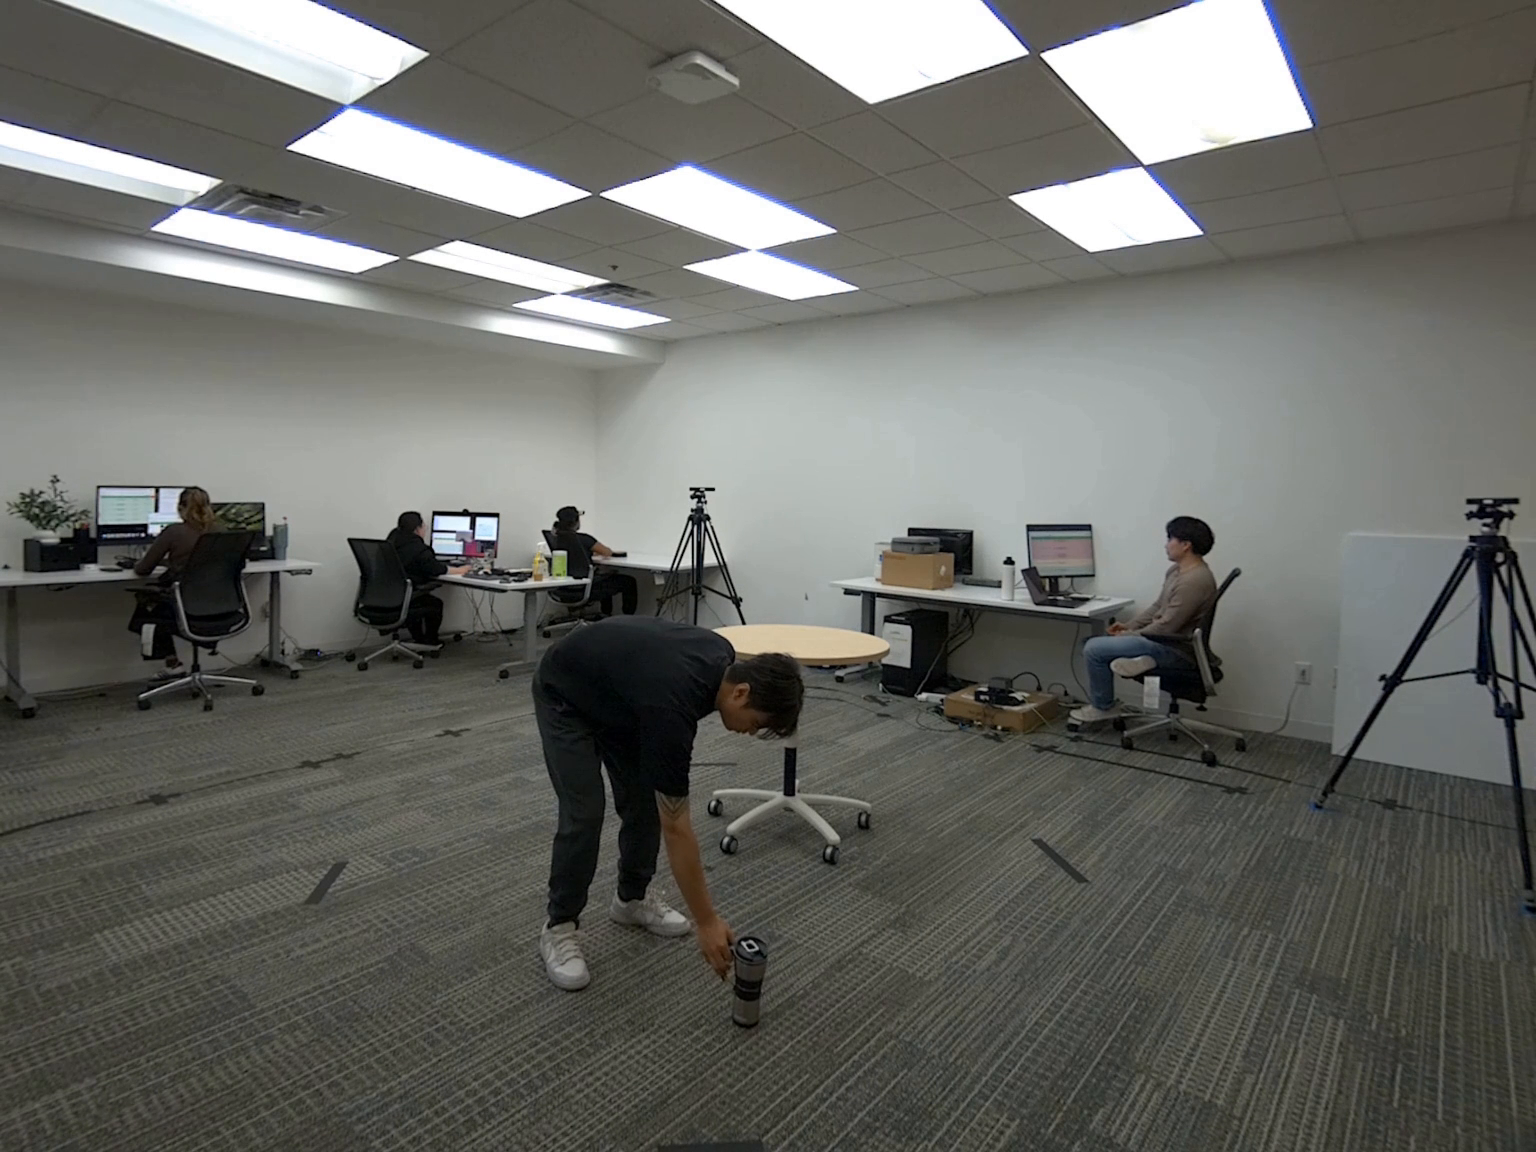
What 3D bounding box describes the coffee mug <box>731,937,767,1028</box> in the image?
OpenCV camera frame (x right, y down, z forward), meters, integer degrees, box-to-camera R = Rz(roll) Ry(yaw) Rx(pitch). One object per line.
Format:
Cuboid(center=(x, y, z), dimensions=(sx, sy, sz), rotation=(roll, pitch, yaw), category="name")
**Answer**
Cuboid(center=(-0.068, 1.052, 2.236), dimensions=(0.085, 0.201, 0.127), rotation=(-3, 15, -34), category="coffee mug")
